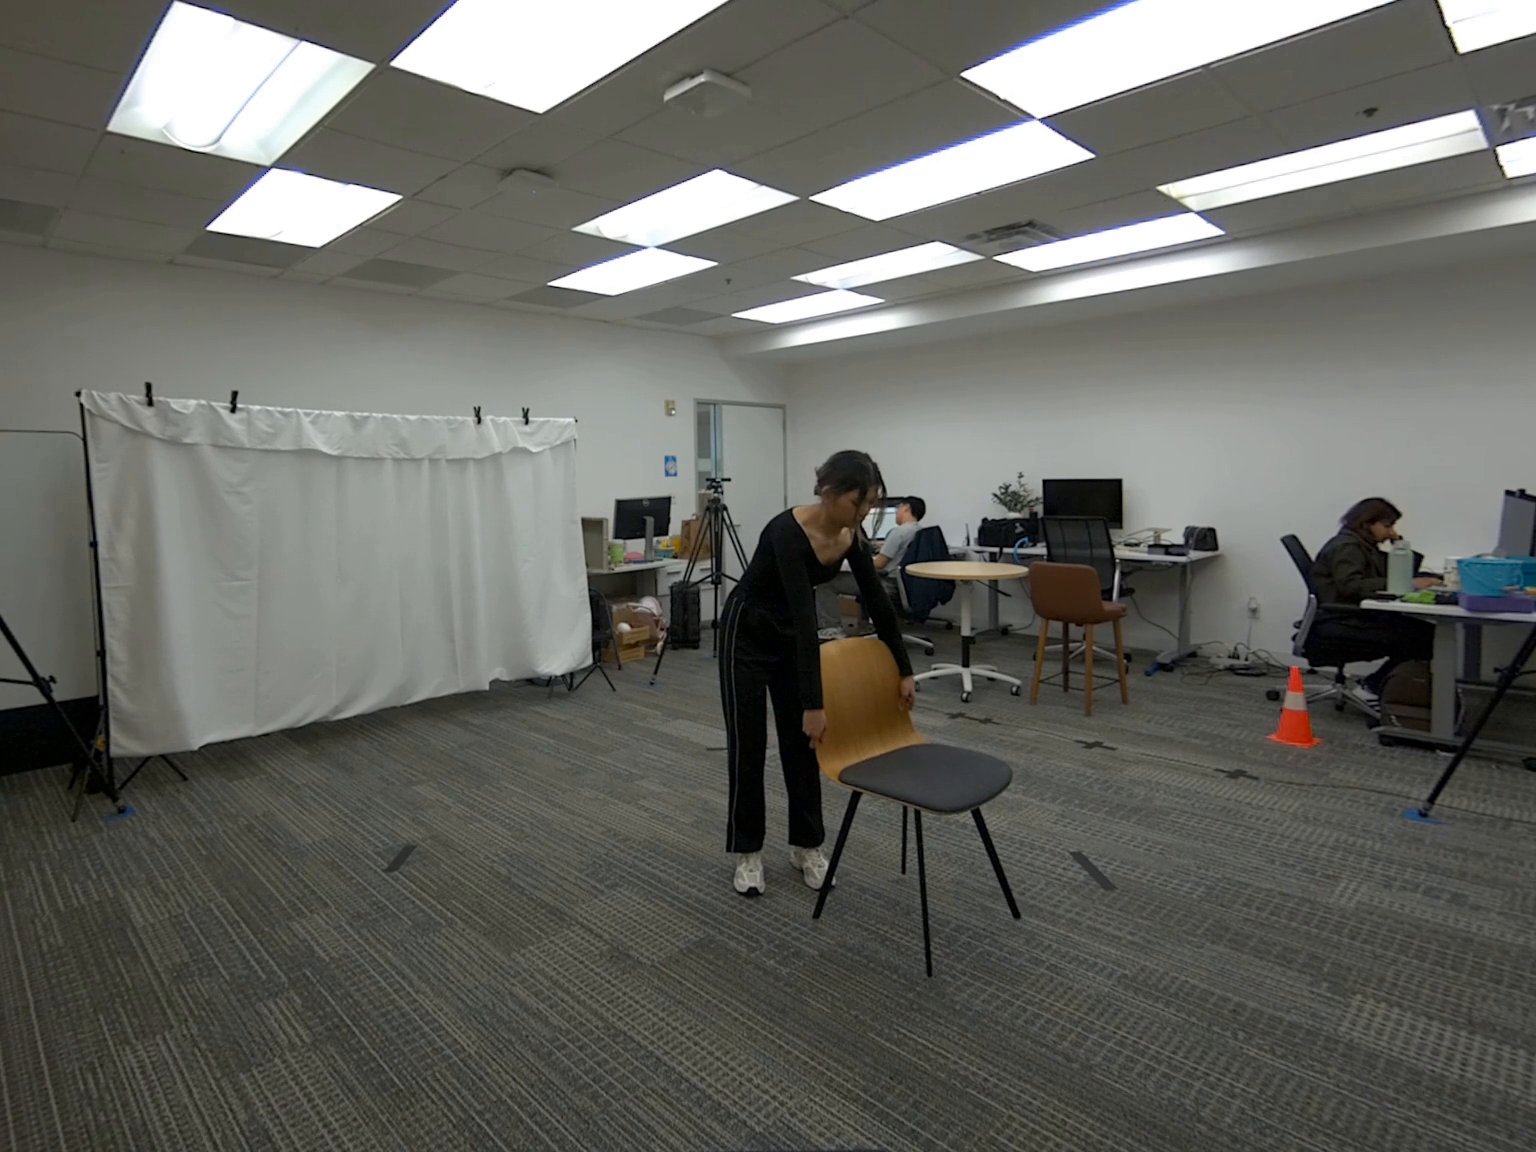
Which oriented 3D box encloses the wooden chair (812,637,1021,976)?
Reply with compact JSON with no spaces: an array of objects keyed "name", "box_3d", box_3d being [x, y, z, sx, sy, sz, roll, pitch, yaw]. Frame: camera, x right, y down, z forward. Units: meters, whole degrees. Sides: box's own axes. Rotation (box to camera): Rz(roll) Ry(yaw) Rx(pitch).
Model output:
[{"name":"wooden chair","box_3d":[0.439,0.641,2.623,0.466,0.878,0.536,-5,0,-40]}]
